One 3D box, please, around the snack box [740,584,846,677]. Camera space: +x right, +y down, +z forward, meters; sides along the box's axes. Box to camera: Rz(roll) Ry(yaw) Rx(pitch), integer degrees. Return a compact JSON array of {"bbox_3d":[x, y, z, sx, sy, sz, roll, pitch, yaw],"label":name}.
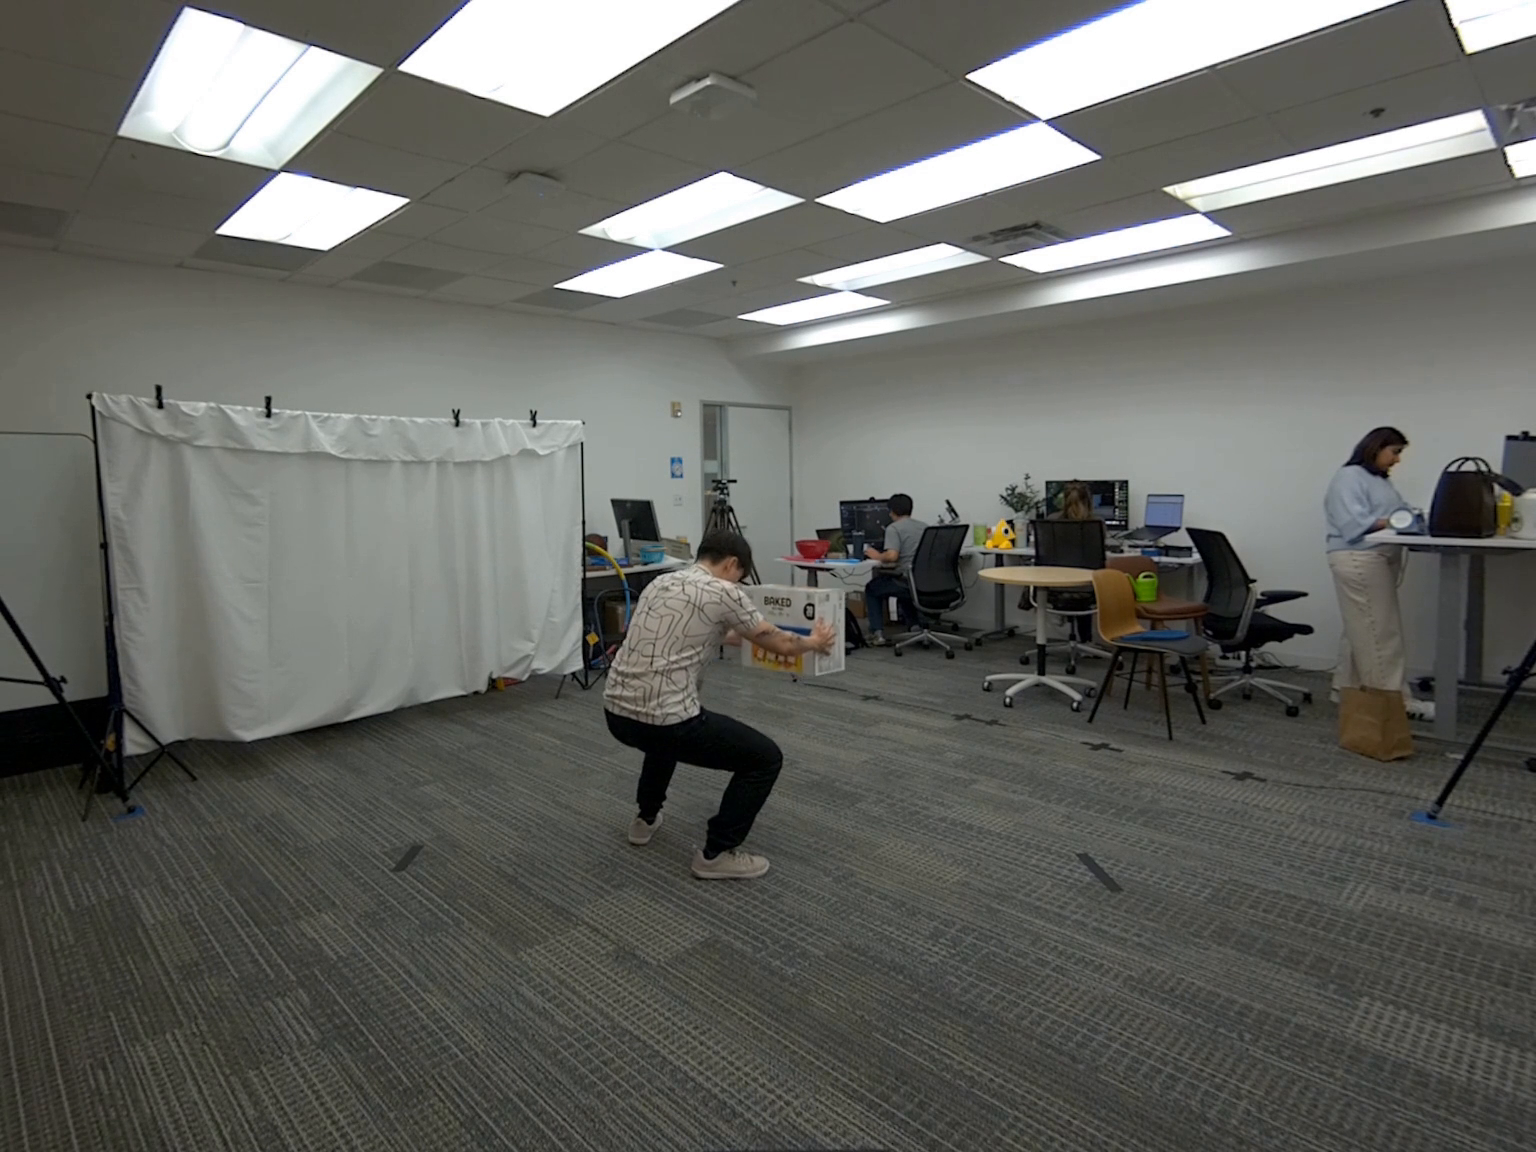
[{"bbox_3d":[0.104,0.216,3.603,0.417,0.340,0.200,3,3,43],"label":"snack box"}]
